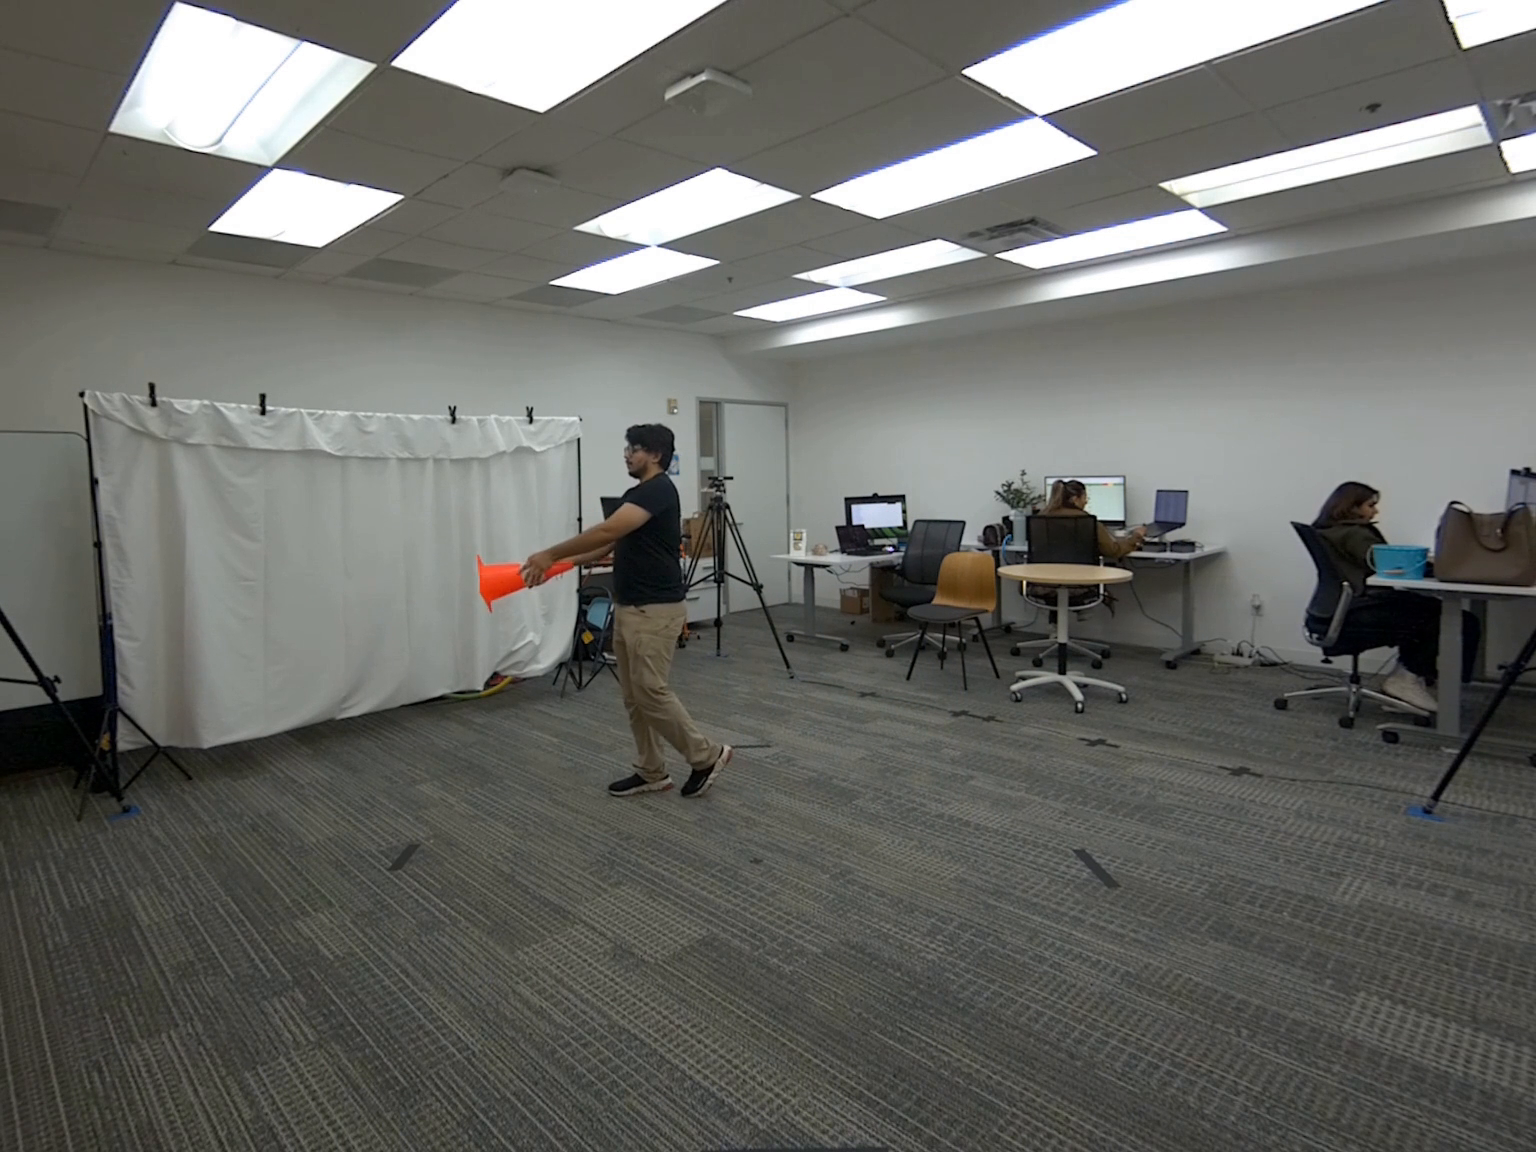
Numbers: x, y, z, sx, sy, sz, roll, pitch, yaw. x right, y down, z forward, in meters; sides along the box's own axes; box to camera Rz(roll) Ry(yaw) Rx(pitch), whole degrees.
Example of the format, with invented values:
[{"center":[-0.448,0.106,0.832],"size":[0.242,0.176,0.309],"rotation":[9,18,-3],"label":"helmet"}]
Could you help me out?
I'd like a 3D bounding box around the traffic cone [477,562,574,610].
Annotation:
[{"center":[-1.013,-0.009,3.630],"size":[0.382,0.210,0.199],"rotation":[-12,-23,-4],"label":"traffic cone"}]
